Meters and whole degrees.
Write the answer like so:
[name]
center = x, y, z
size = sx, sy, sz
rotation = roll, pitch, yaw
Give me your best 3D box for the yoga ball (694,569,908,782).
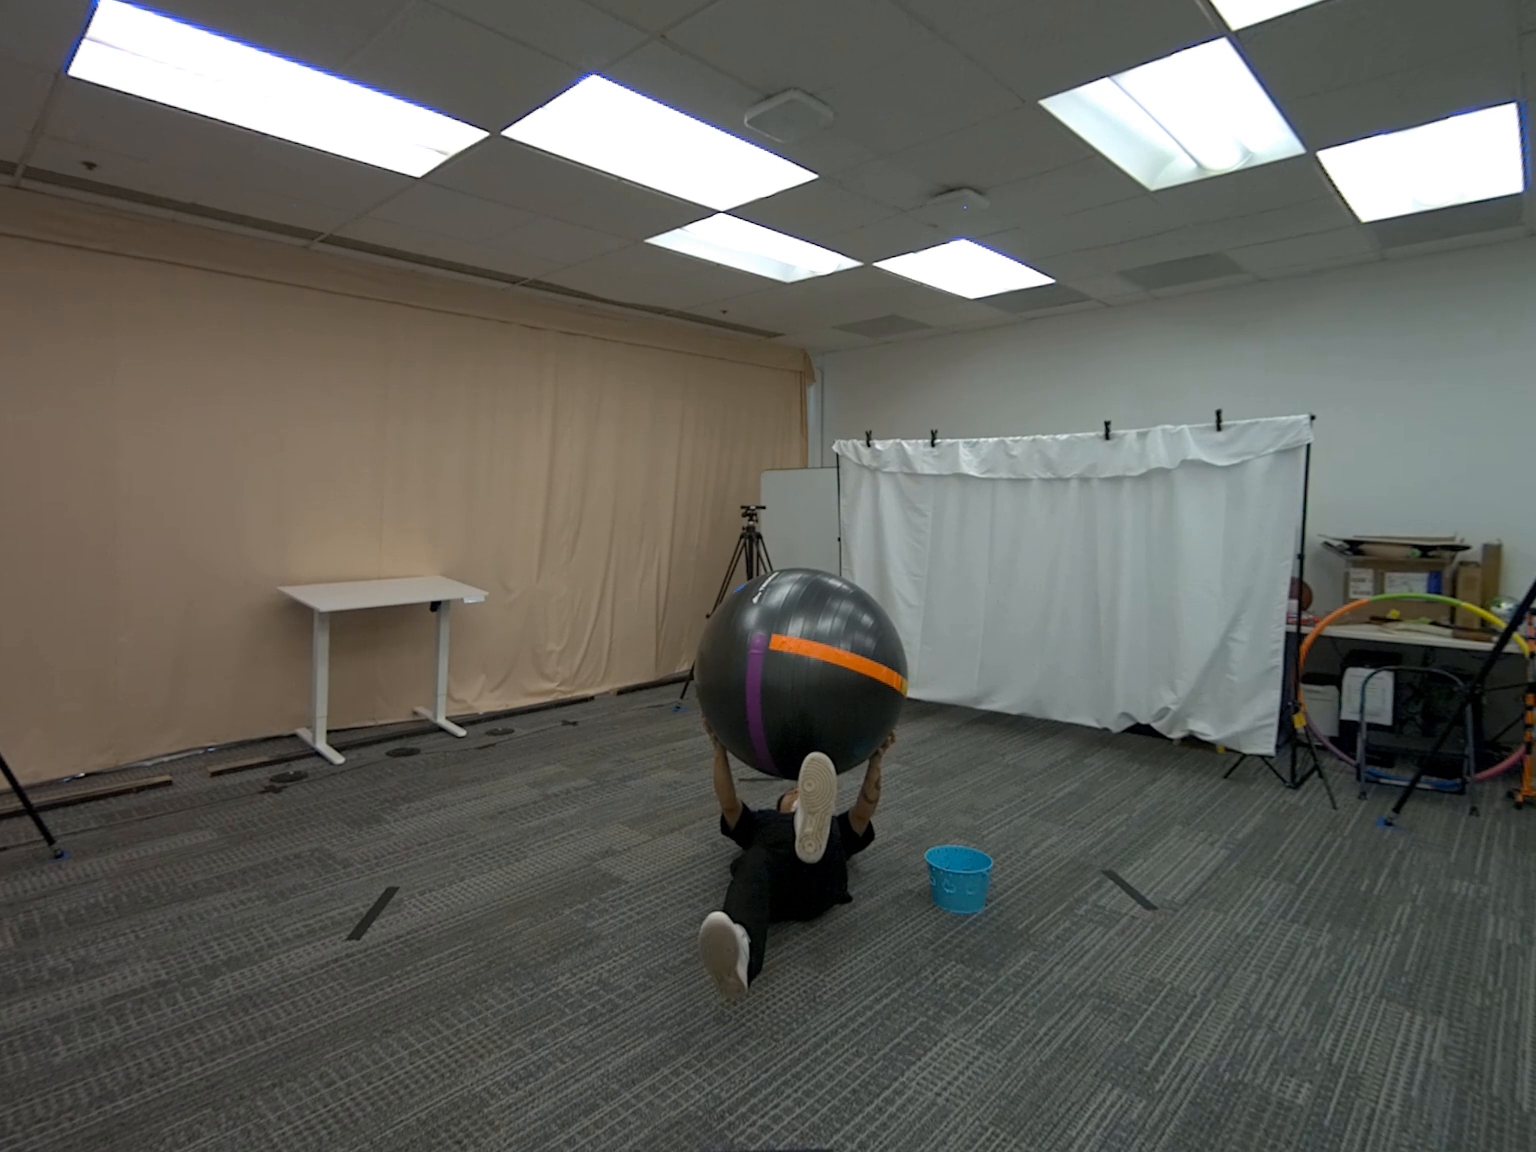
[yoga ball]
center = 0.116, 0.356, 3.050
size = 0.757, 0.756, 0.760
rotation = 0, 4, -2
